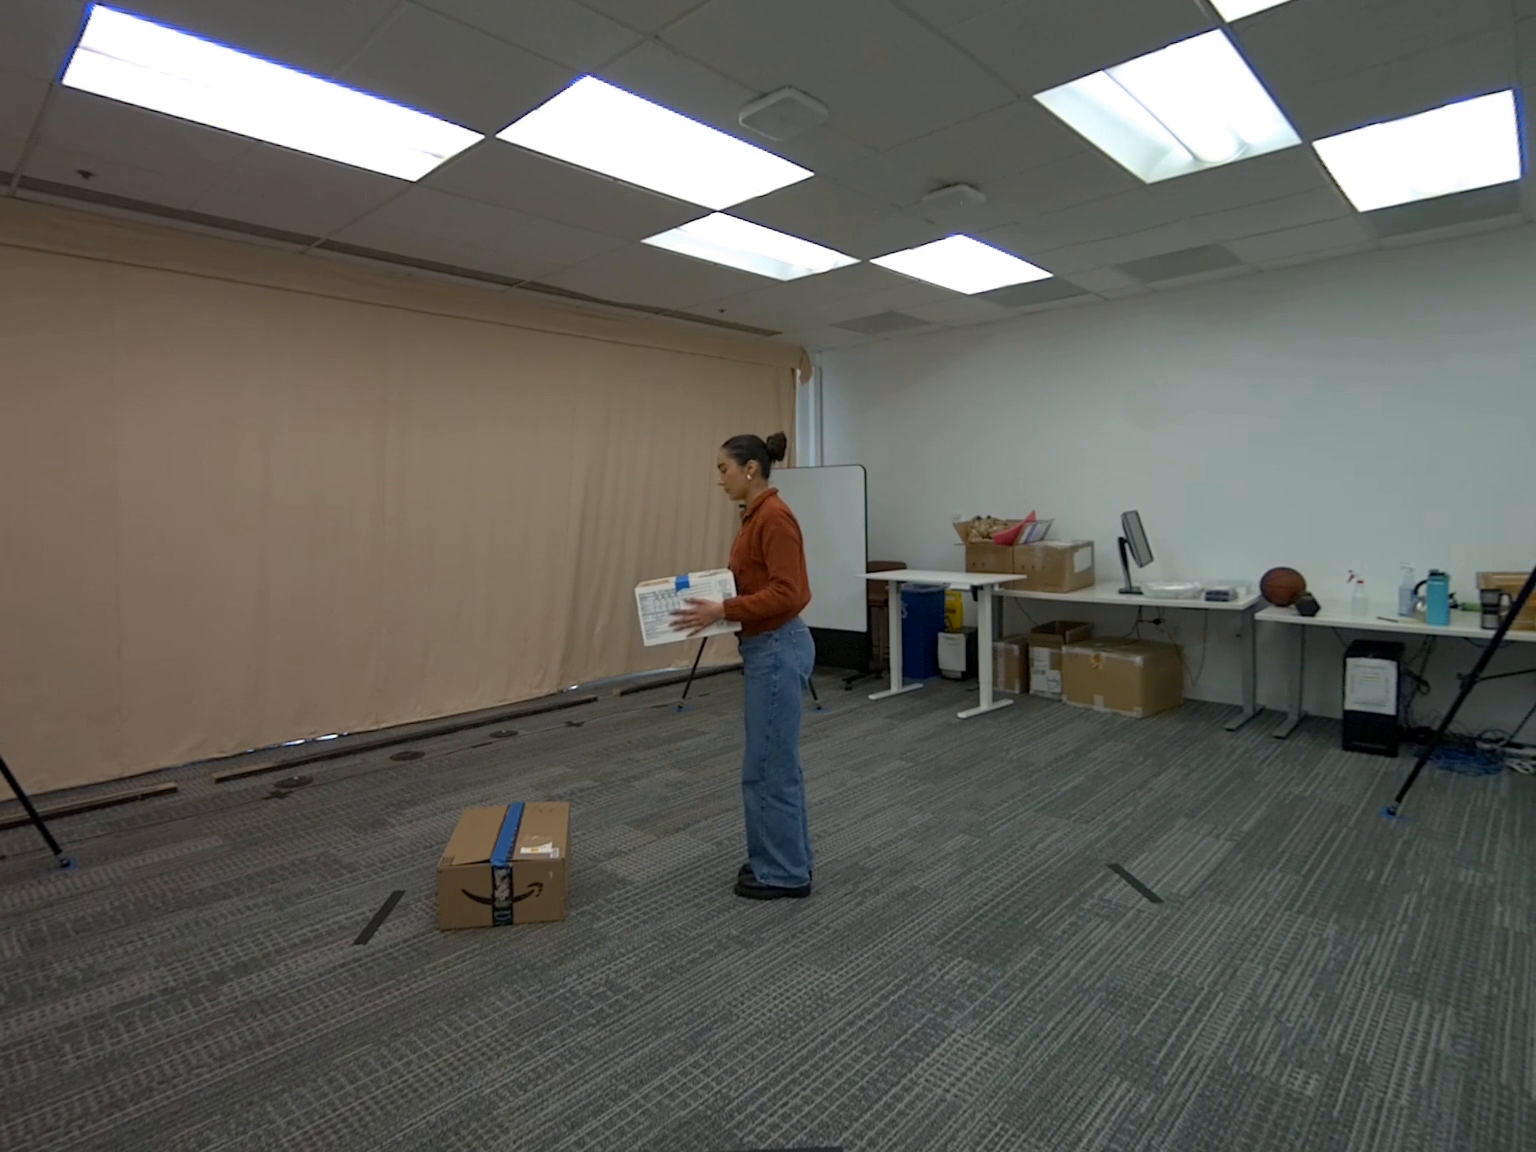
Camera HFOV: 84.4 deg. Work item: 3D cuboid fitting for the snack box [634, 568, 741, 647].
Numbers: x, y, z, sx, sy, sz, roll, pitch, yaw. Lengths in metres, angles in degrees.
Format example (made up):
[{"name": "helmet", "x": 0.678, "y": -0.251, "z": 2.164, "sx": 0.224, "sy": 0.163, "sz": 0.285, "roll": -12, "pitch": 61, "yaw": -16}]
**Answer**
[{"name": "snack box", "x": -0.291, "y": 0.108, "z": 3.061, "sx": 0.339, "sy": 0.205, "sz": 0.408, "roll": -10, "pitch": 3, "yaw": -5}]
